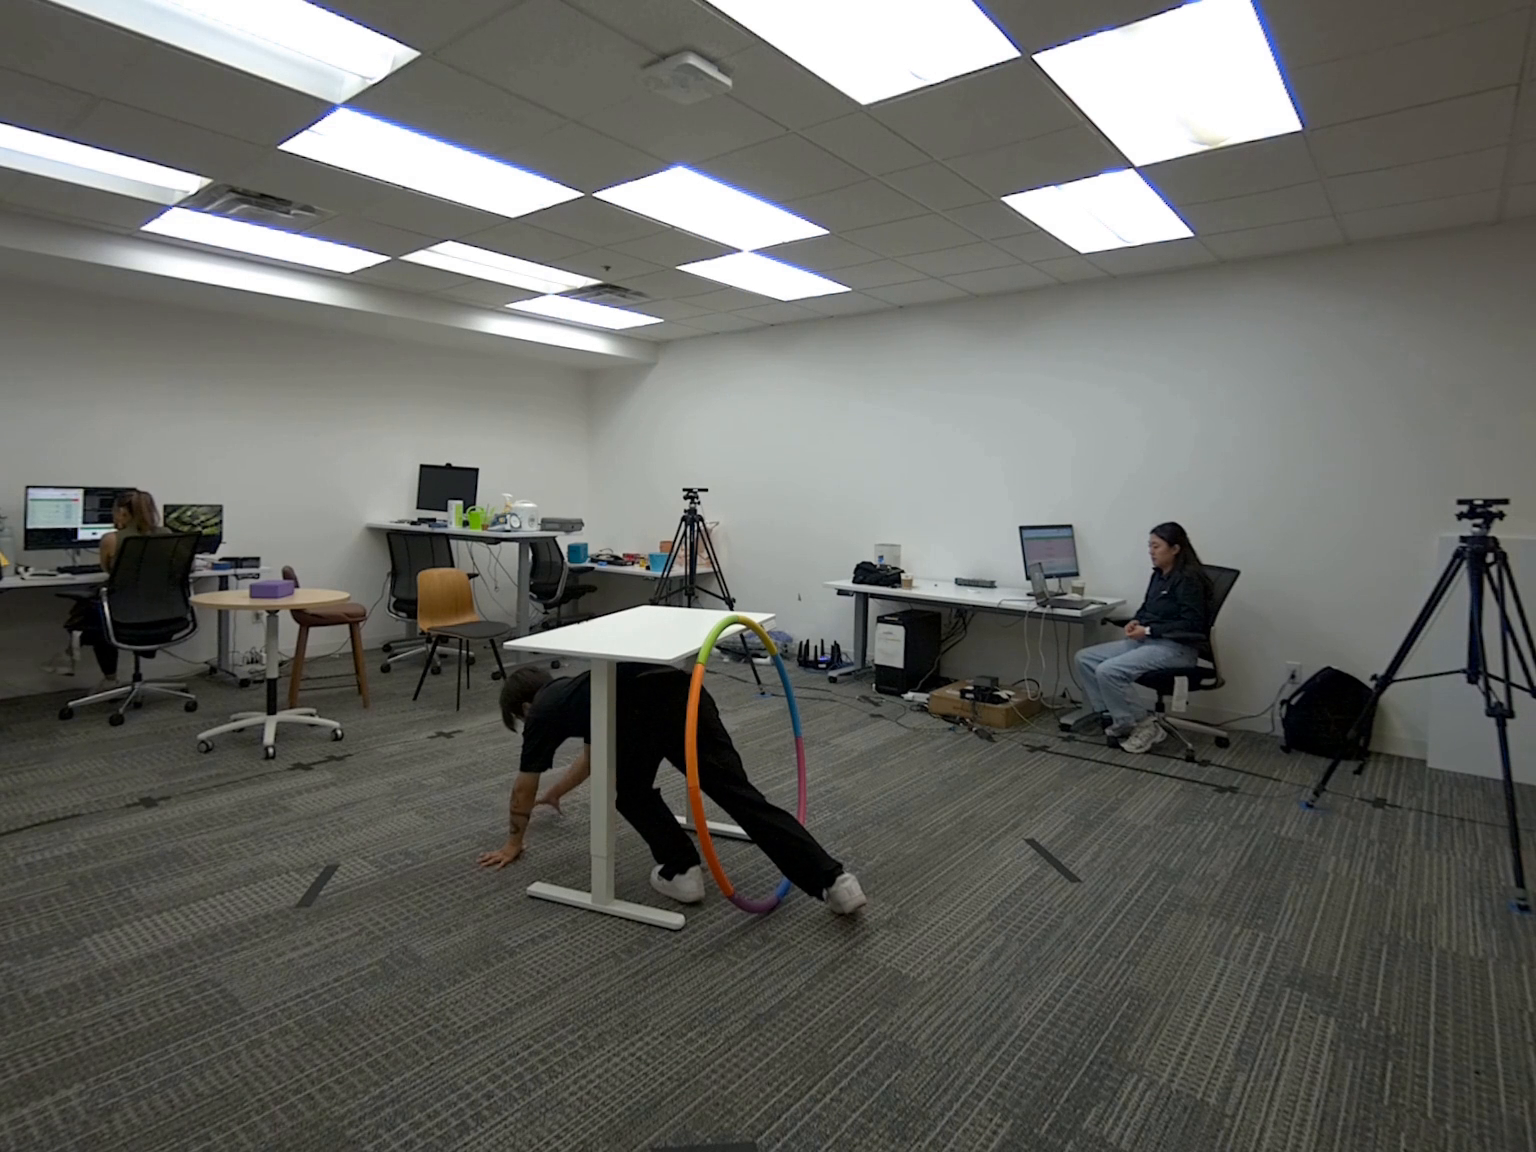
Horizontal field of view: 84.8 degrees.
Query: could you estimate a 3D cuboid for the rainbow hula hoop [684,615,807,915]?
[{"bbox_3d":[-0.062,0.621,2.921,0.036,0.980,0.960,-11,-1,20],"label":"rainbow hula hoop"}]
